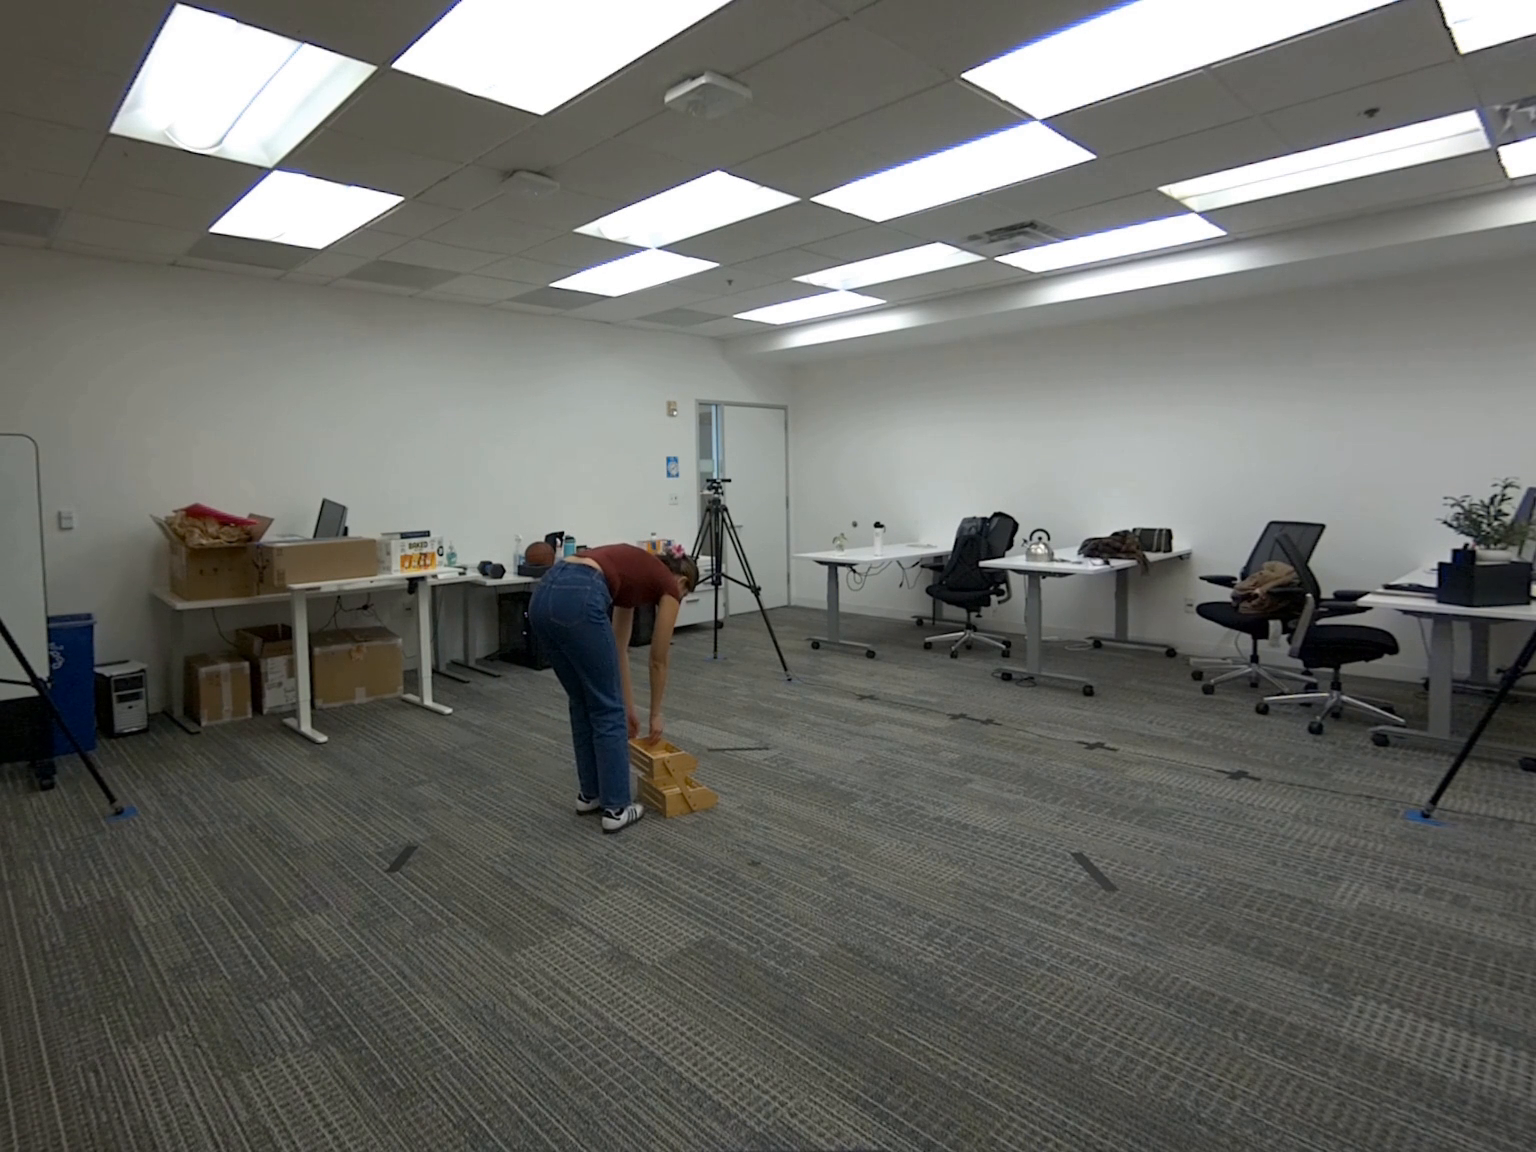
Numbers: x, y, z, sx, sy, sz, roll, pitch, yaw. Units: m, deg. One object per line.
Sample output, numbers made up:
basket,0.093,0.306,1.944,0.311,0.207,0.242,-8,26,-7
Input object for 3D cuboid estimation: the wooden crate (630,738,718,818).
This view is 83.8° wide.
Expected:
wooden crate,-0.419,0.846,3.714,0.295,0.272,0.333,-5,6,-31
